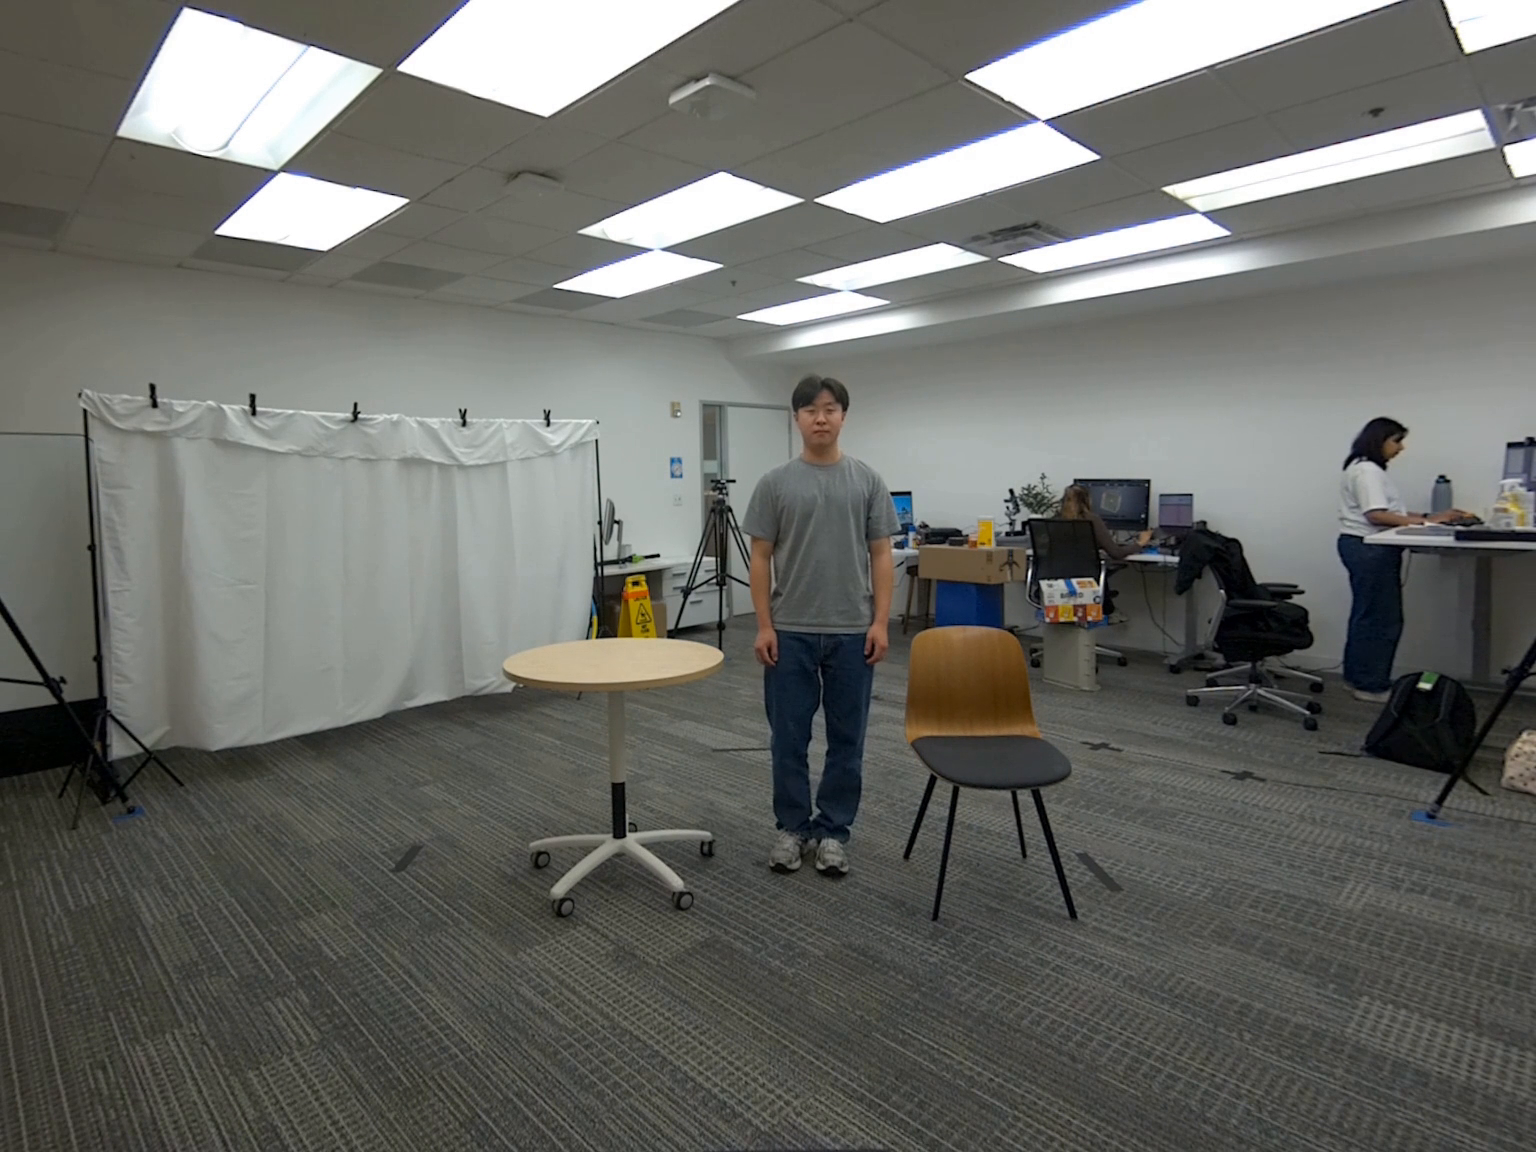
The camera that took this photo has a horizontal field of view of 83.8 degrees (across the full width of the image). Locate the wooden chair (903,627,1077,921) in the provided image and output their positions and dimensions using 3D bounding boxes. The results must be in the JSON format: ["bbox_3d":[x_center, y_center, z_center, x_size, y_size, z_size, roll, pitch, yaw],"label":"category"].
[{"bbox_3d":[0.722,0.631,2.859,0.478,0.877,0.523,0,0,-1],"label":"wooden chair"}]
